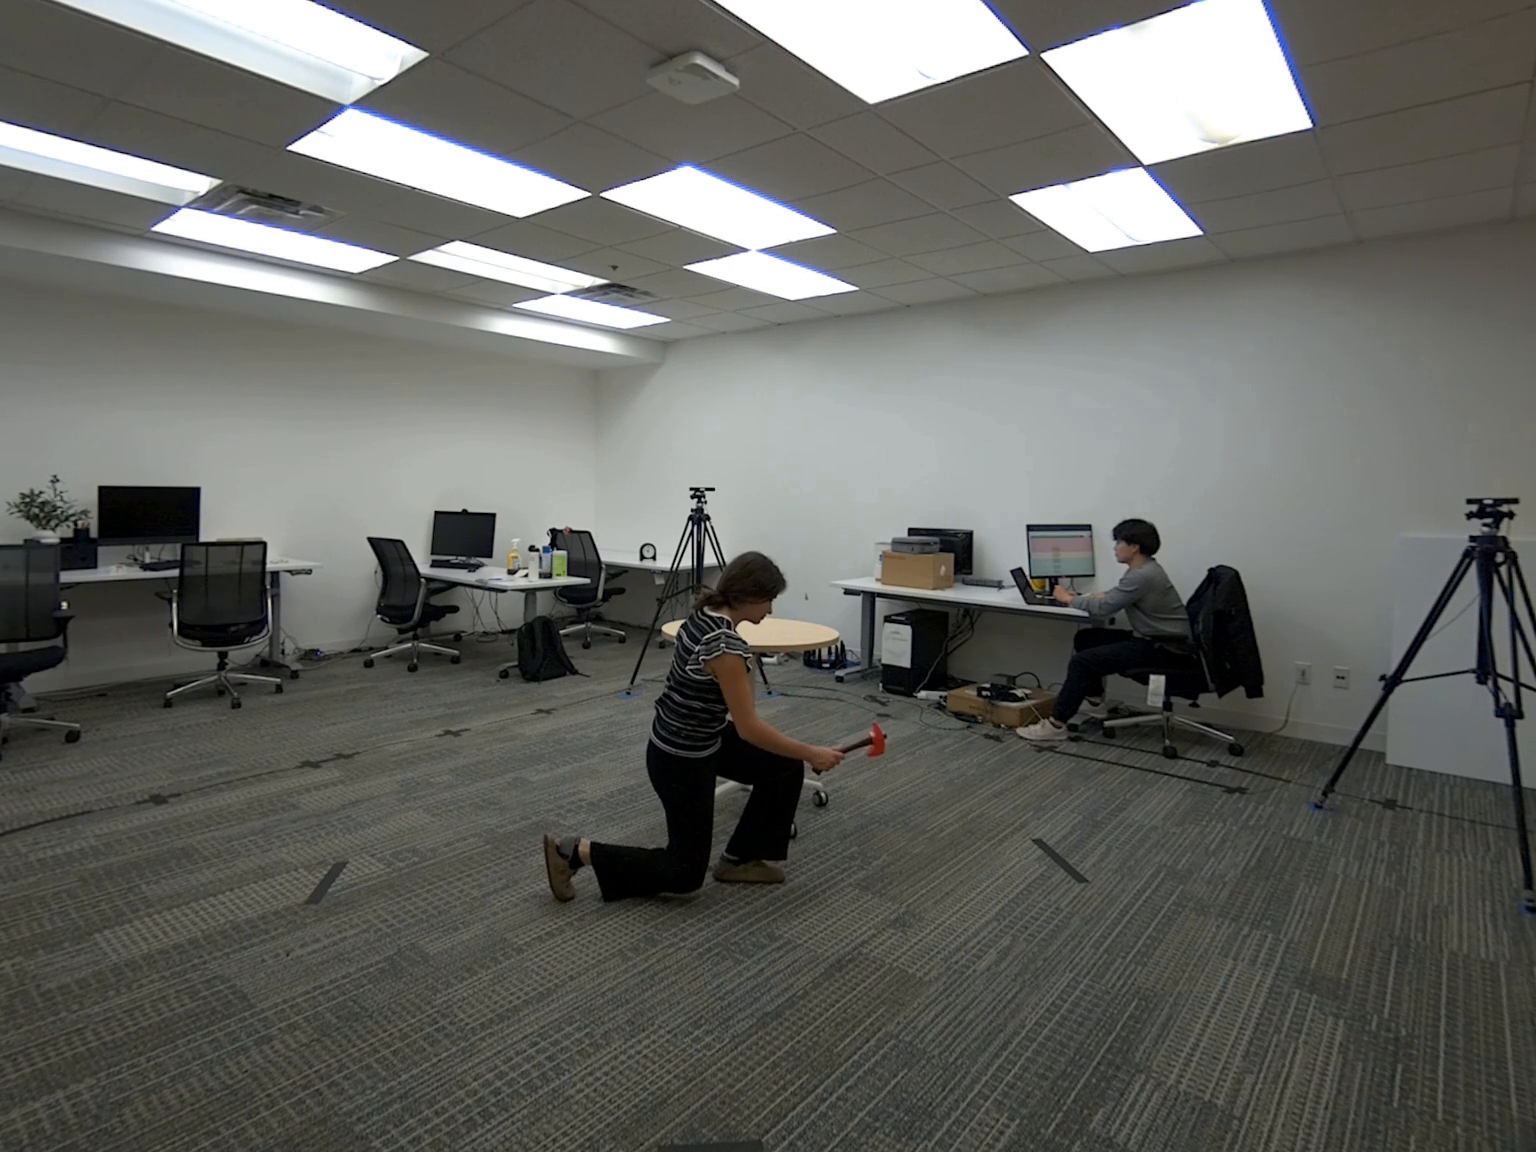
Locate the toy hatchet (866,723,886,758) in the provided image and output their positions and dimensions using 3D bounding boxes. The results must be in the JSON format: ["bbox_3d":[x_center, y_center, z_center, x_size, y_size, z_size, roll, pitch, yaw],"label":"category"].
[{"bbox_3d":[0.258,0.603,2.853,0.270,0.127,0.030,-30,22,1],"label":"toy hatchet"}]
